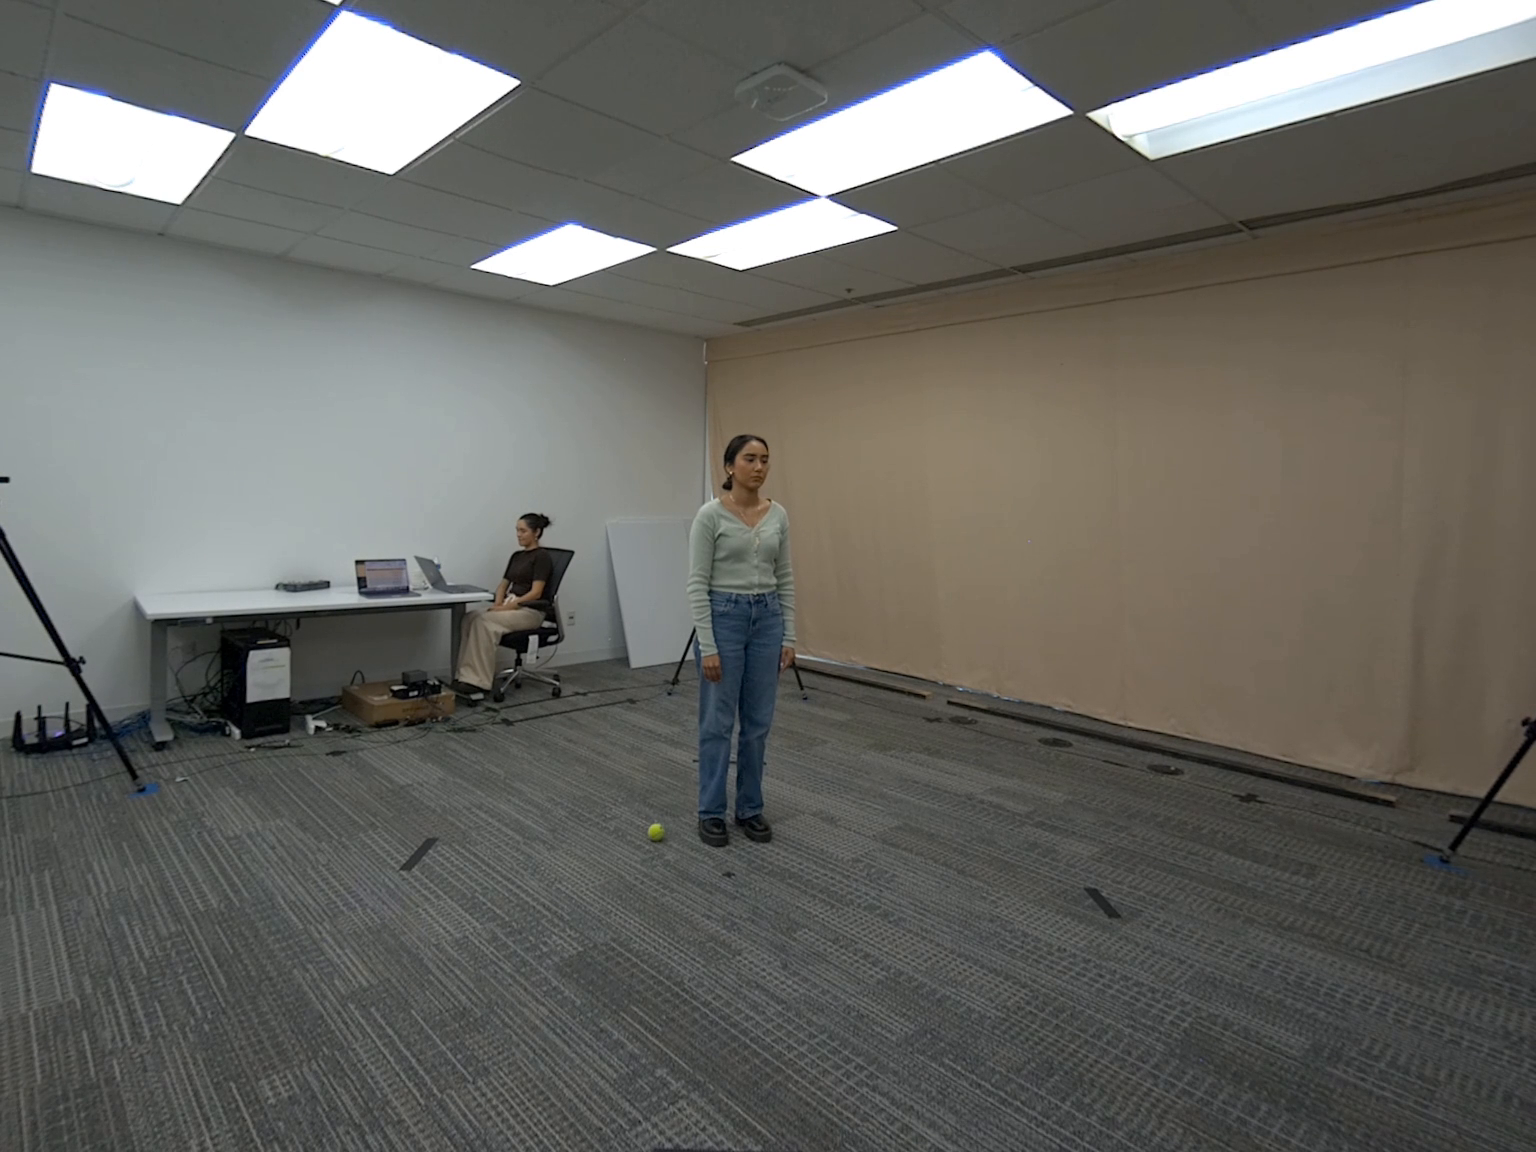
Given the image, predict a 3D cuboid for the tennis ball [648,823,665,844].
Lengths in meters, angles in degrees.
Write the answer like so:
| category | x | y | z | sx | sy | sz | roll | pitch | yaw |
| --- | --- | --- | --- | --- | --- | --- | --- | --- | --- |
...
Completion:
| category | x | y | z | sx | sy | sz | roll | pitch | yaw |
| --- | --- | --- | --- | --- | --- | --- | --- | --- | --- |
| tennis ball | -0.468 | 1.023 | 3.397 | 0.066 | 0.066 | 0.067 | 1 | 4 | -1 |
